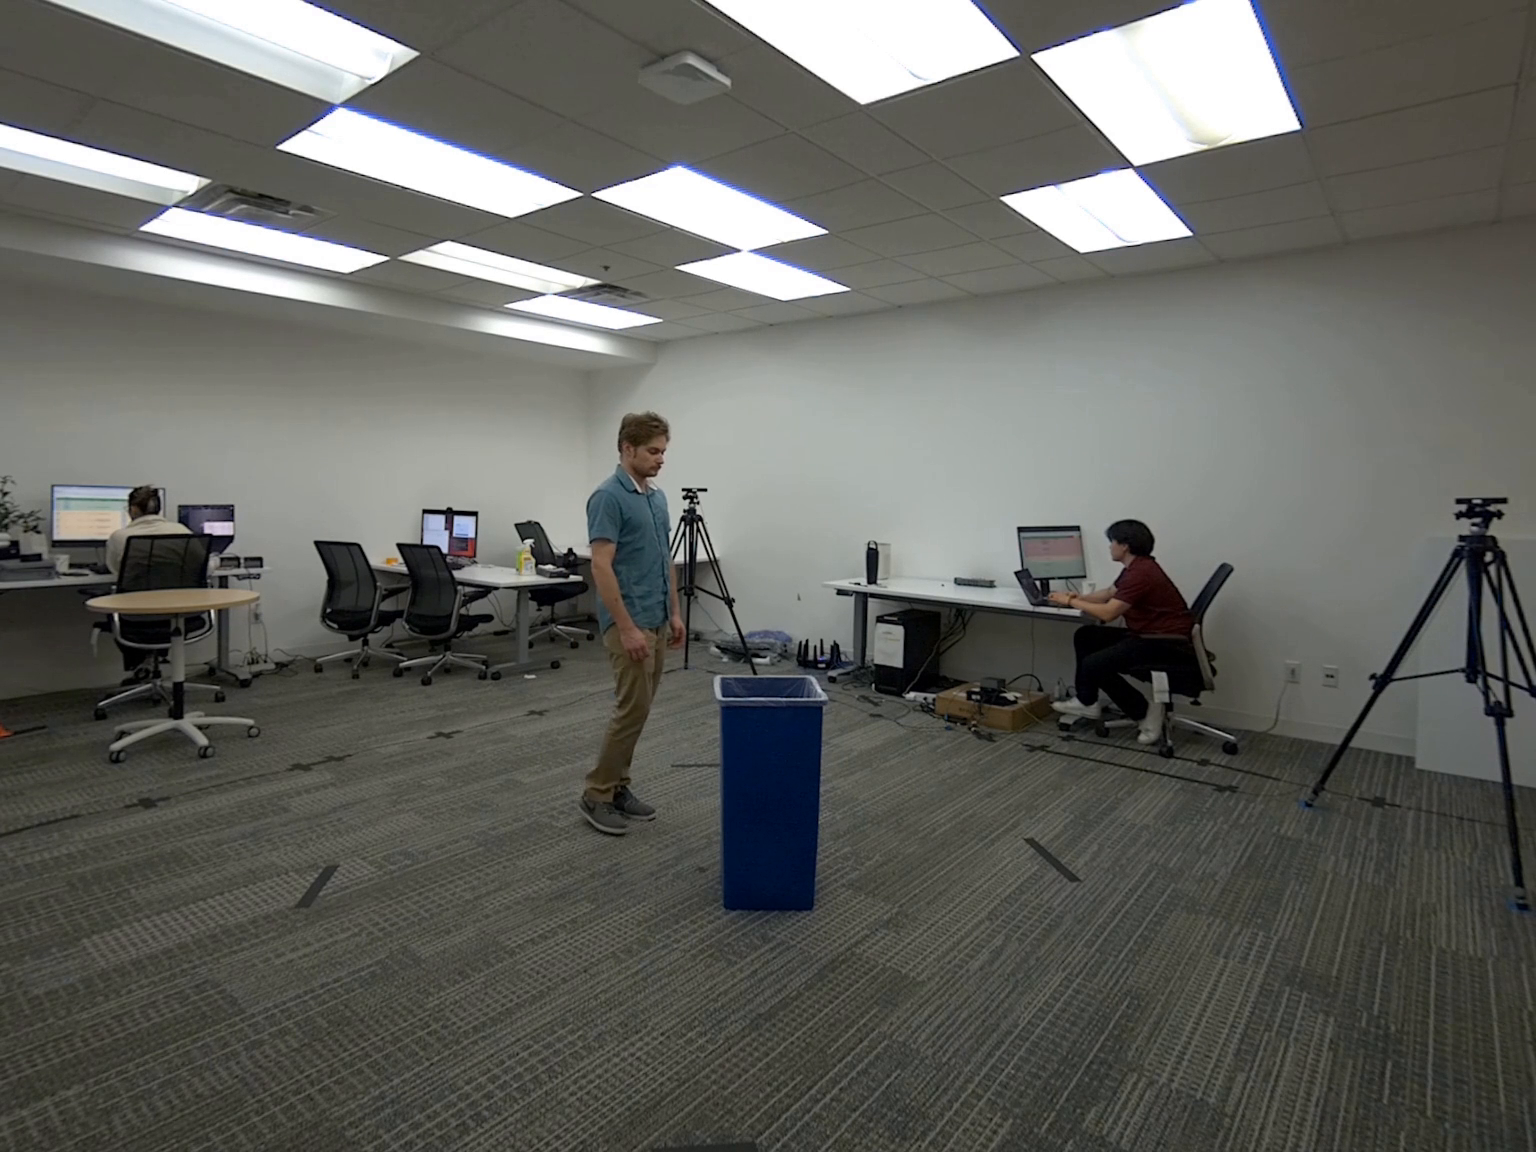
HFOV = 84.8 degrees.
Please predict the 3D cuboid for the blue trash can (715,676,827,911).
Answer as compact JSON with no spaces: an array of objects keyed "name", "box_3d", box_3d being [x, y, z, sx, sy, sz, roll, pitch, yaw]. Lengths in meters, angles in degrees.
[{"name":"blue trash can","box_3d":[-0.013,0.733,2.953,0.377,0.711,0.377,0,3,-4]}]
